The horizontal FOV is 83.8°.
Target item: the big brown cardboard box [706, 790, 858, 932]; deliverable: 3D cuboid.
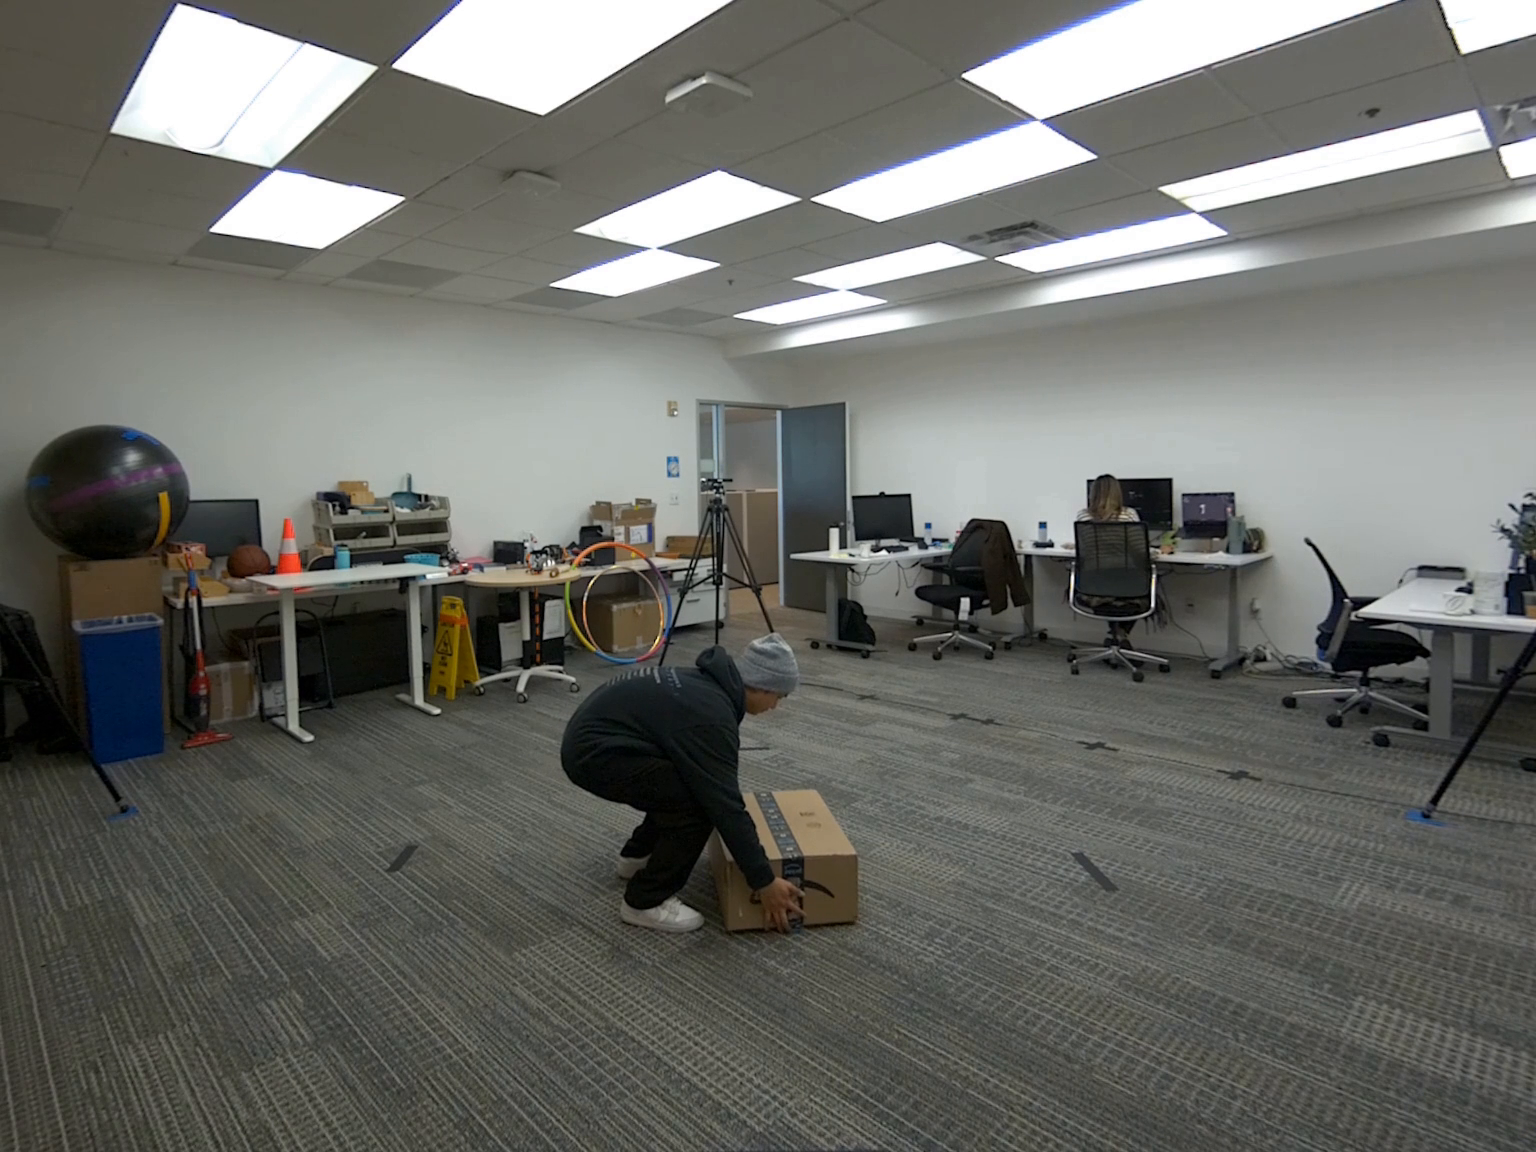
[{"bbox_3d":[0.036,0.945,2.906,0.414,0.232,0.597,-2,7,-9],"label":"big brown cardboard box"}]
